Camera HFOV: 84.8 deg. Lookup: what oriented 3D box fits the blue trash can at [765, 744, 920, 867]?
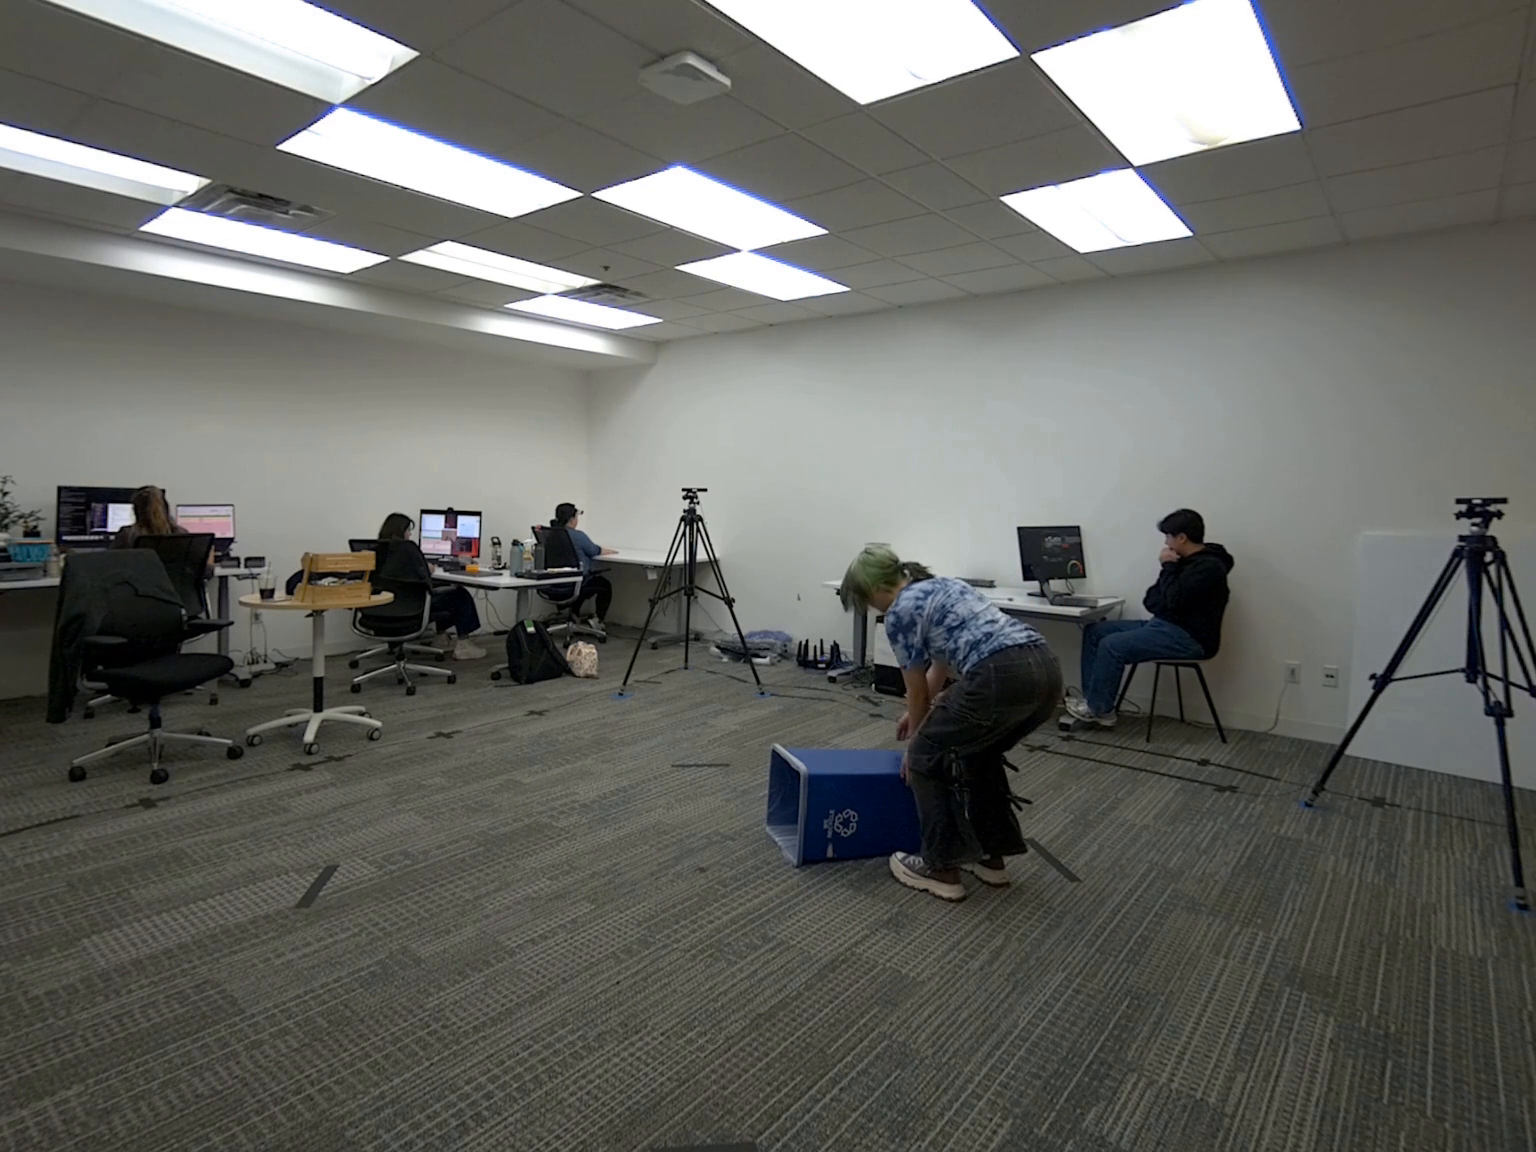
[{"bbox_3d":[0.377,0.875,3.391,0.701,0.373,0.386,1,4,-17],"label":"blue trash can"}]
